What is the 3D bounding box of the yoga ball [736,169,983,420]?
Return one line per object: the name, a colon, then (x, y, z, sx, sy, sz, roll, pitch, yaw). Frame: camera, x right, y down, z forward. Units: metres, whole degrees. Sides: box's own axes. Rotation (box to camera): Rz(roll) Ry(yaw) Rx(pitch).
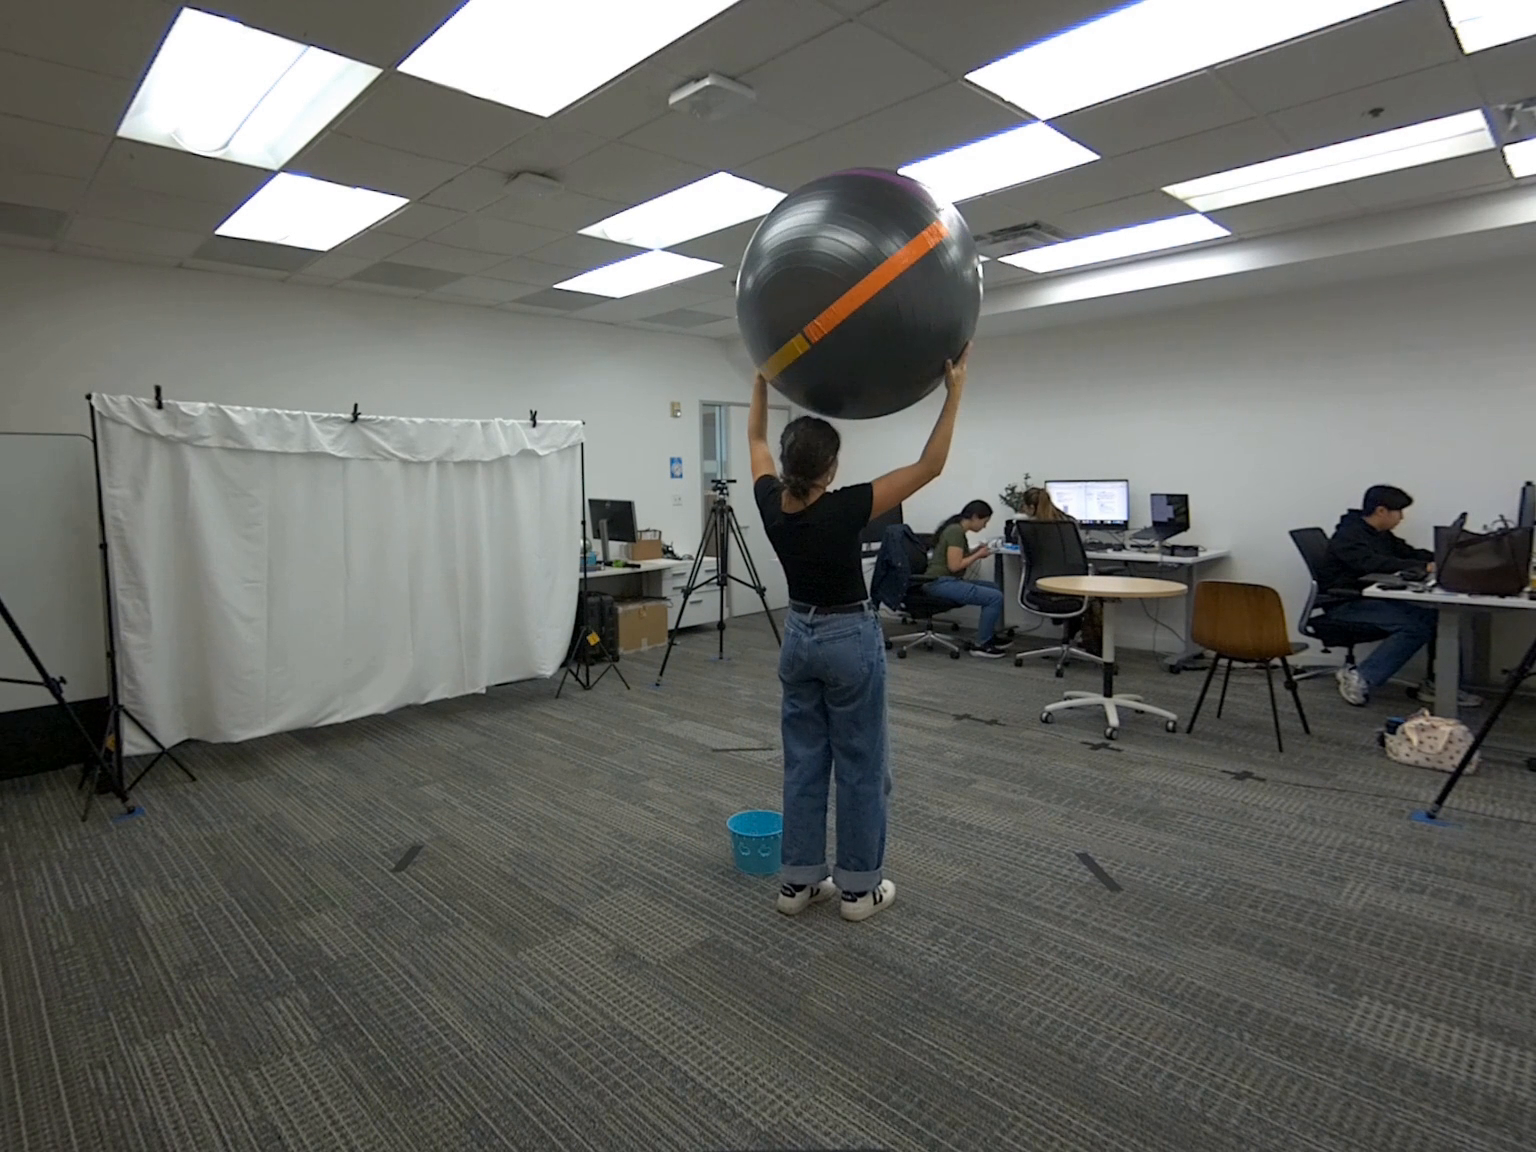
yoga ball: (0.280, -0.865, 2.682, 0.757, 0.755, 0.762, -1, 5, -2)
